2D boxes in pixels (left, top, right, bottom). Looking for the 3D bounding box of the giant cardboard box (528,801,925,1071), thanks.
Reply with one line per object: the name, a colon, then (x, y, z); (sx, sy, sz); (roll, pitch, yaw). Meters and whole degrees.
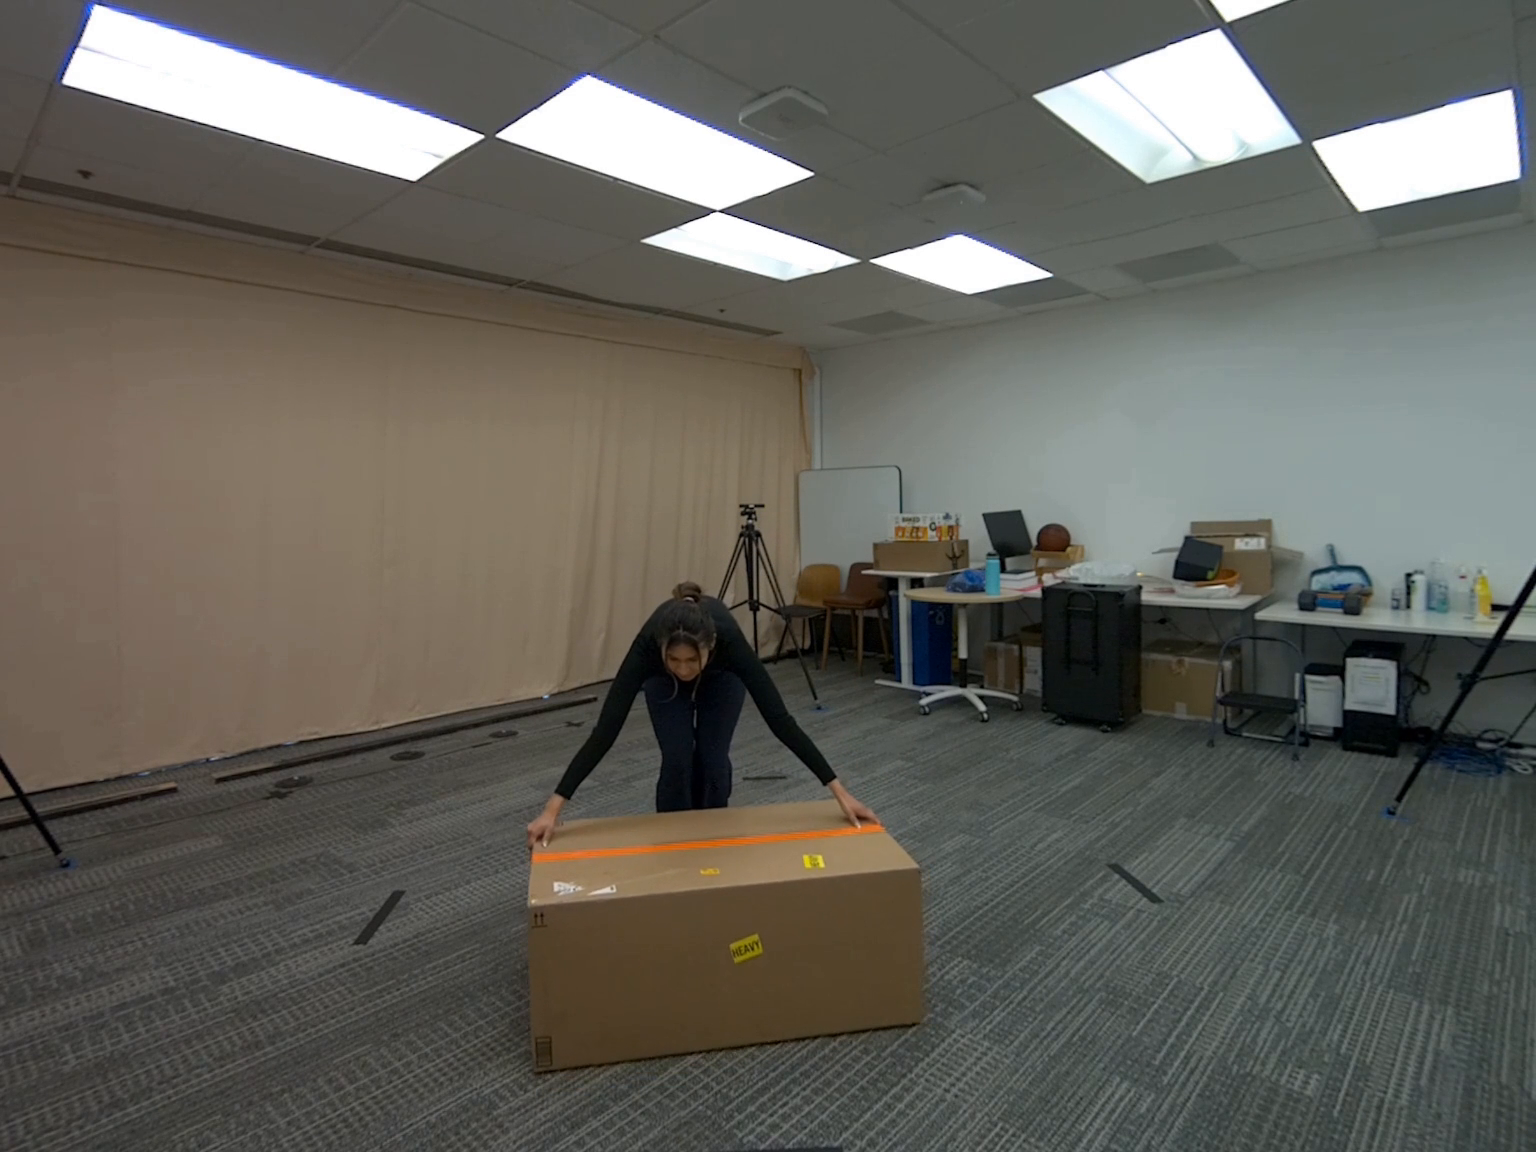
giant cardboard box: (-0.153, 0.972, 2.424); (1.015, 0.425, 0.585); (-2, 4, -11)
